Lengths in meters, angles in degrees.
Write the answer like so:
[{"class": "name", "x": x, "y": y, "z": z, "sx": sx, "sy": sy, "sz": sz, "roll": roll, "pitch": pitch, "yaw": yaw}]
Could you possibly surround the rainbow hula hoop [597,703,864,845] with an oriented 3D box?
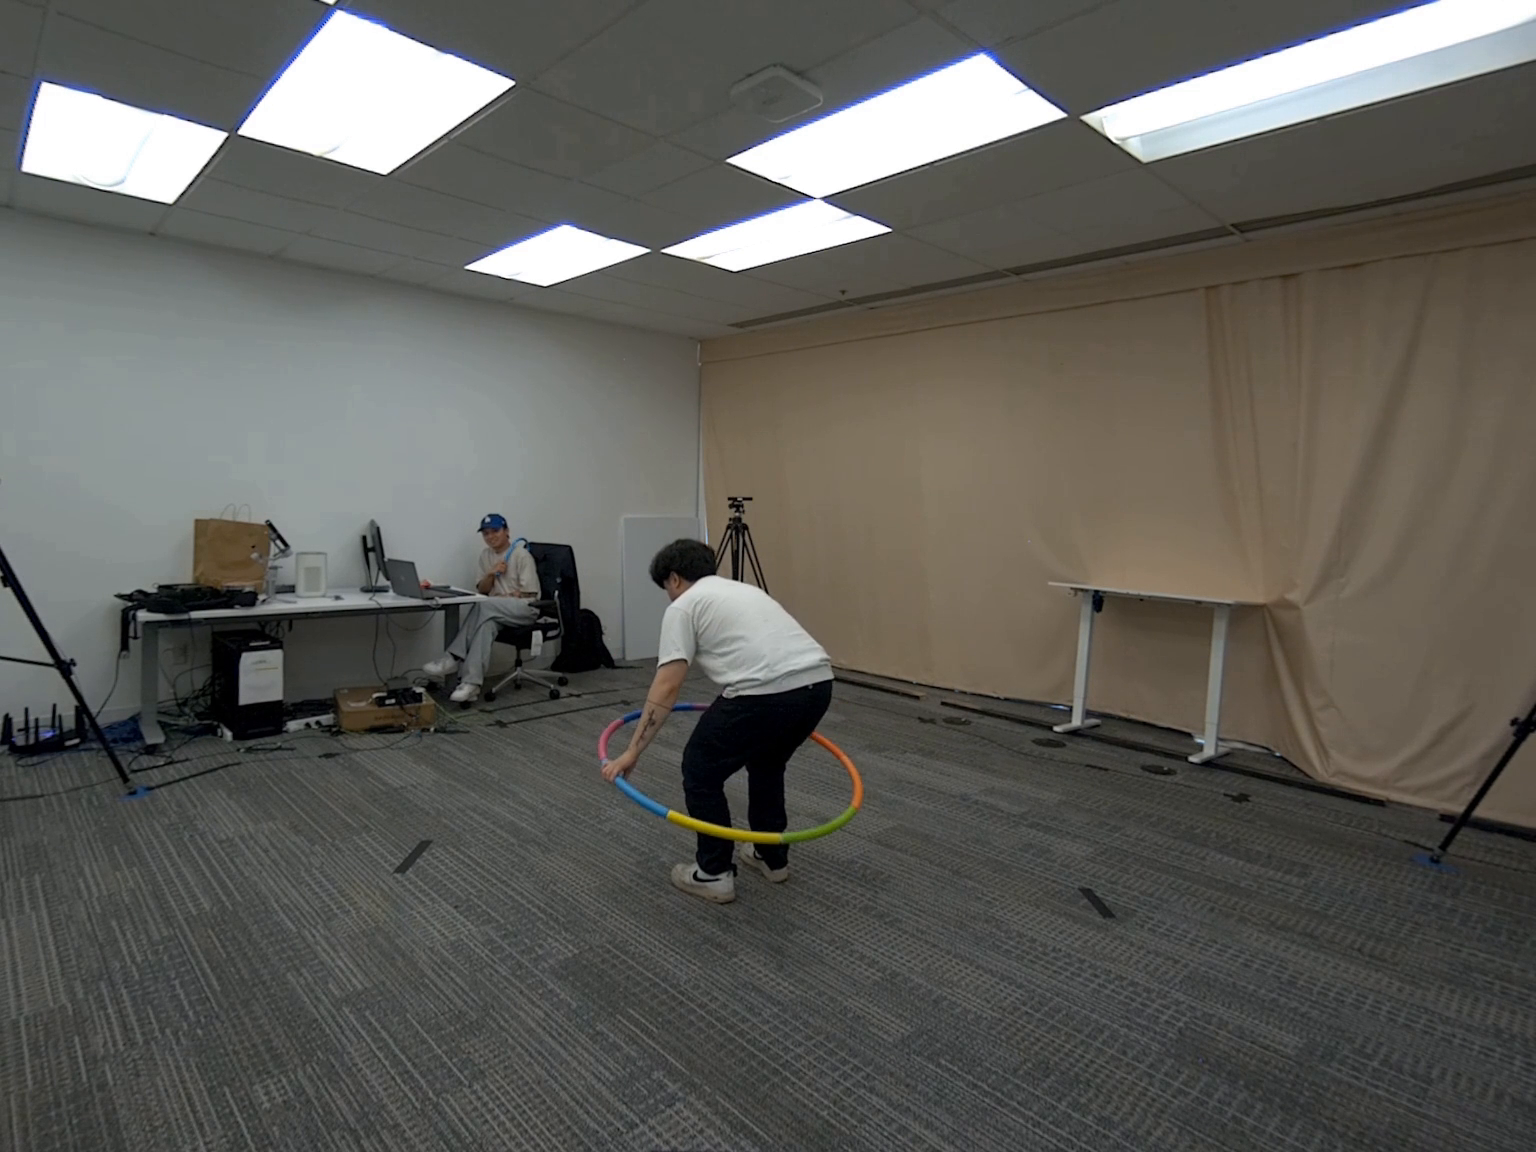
[{"class": "rainbow hula hoop", "x": -0.138, "y": 0.684, "z": 3.112, "sx": 0.983, "sy": 0.051, "sz": 0.996, "roll": 9, "pitch": 14, "yaw": -4}]
